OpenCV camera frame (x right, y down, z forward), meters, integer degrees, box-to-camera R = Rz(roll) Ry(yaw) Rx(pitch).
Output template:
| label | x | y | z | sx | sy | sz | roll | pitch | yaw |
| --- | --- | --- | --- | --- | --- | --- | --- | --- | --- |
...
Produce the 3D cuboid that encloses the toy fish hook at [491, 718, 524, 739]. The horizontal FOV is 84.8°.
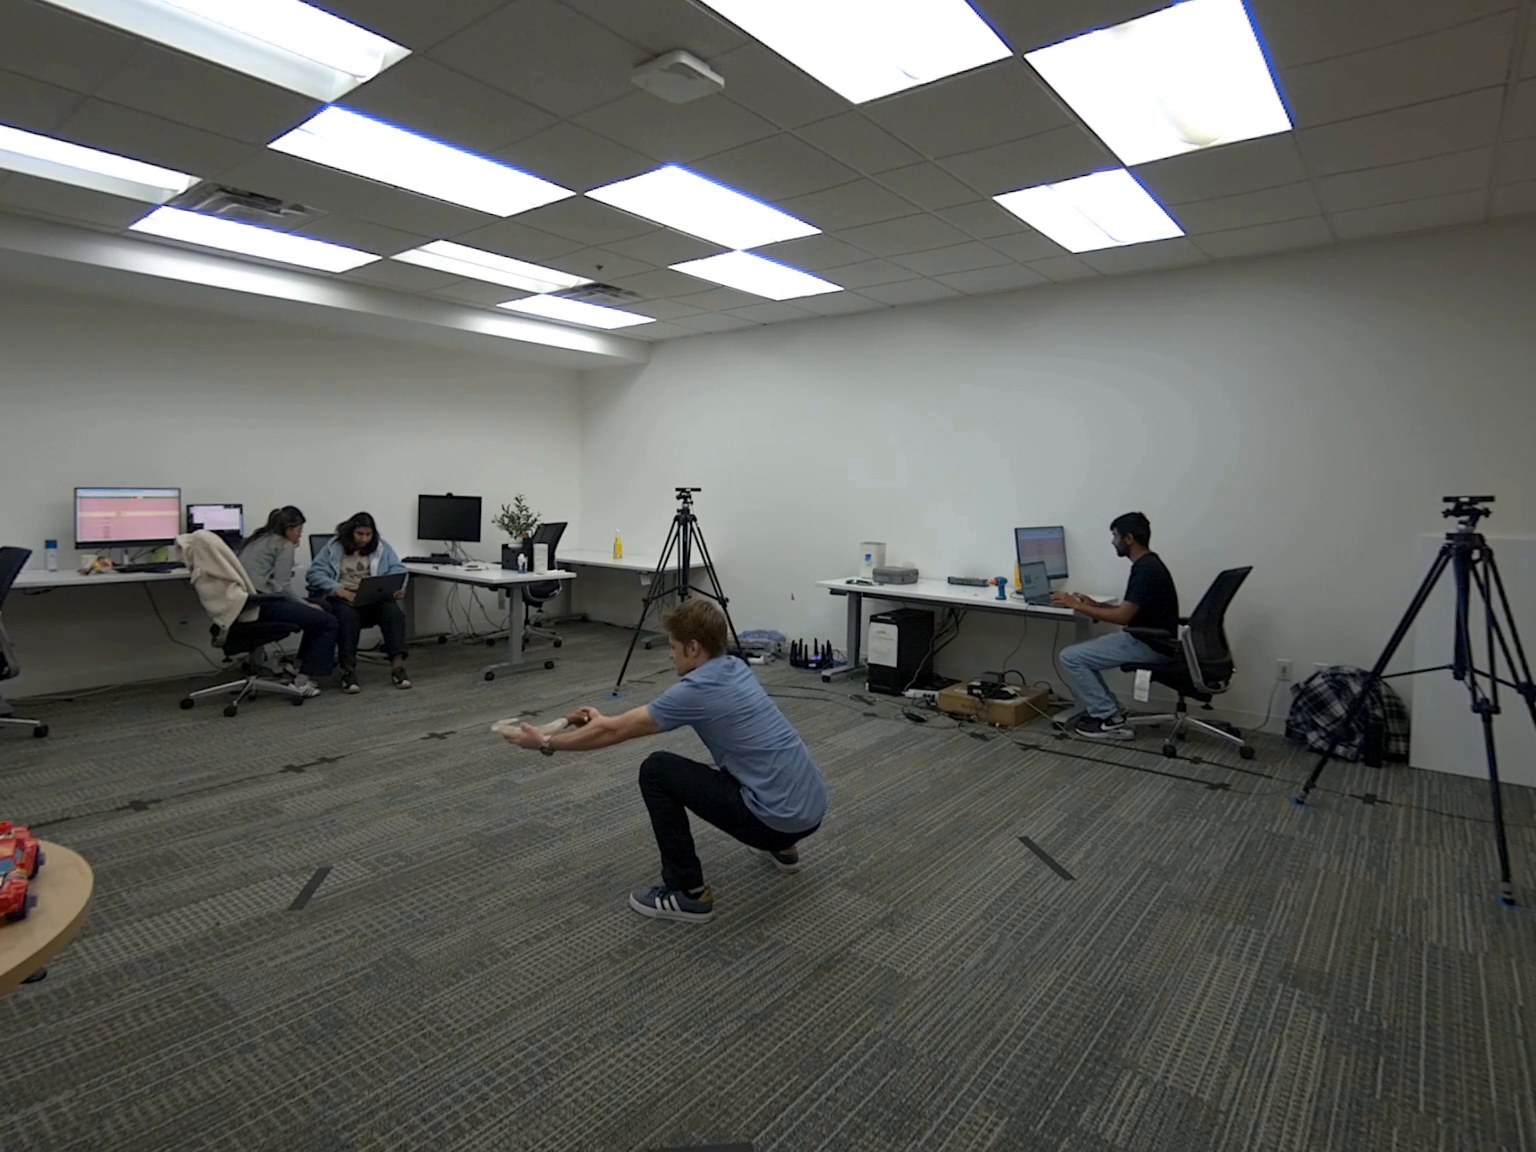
| label | x | y | z | sx | sy | sz | roll | pitch | yaw |
| --- | --- | --- | --- | --- | --- | --- | --- | --- | --- |
| toy fish hook | -0.830 | 0.540 | 3.149 | 0.230 | 0.048 | 0.493 | 8 | 1 | 23 |
